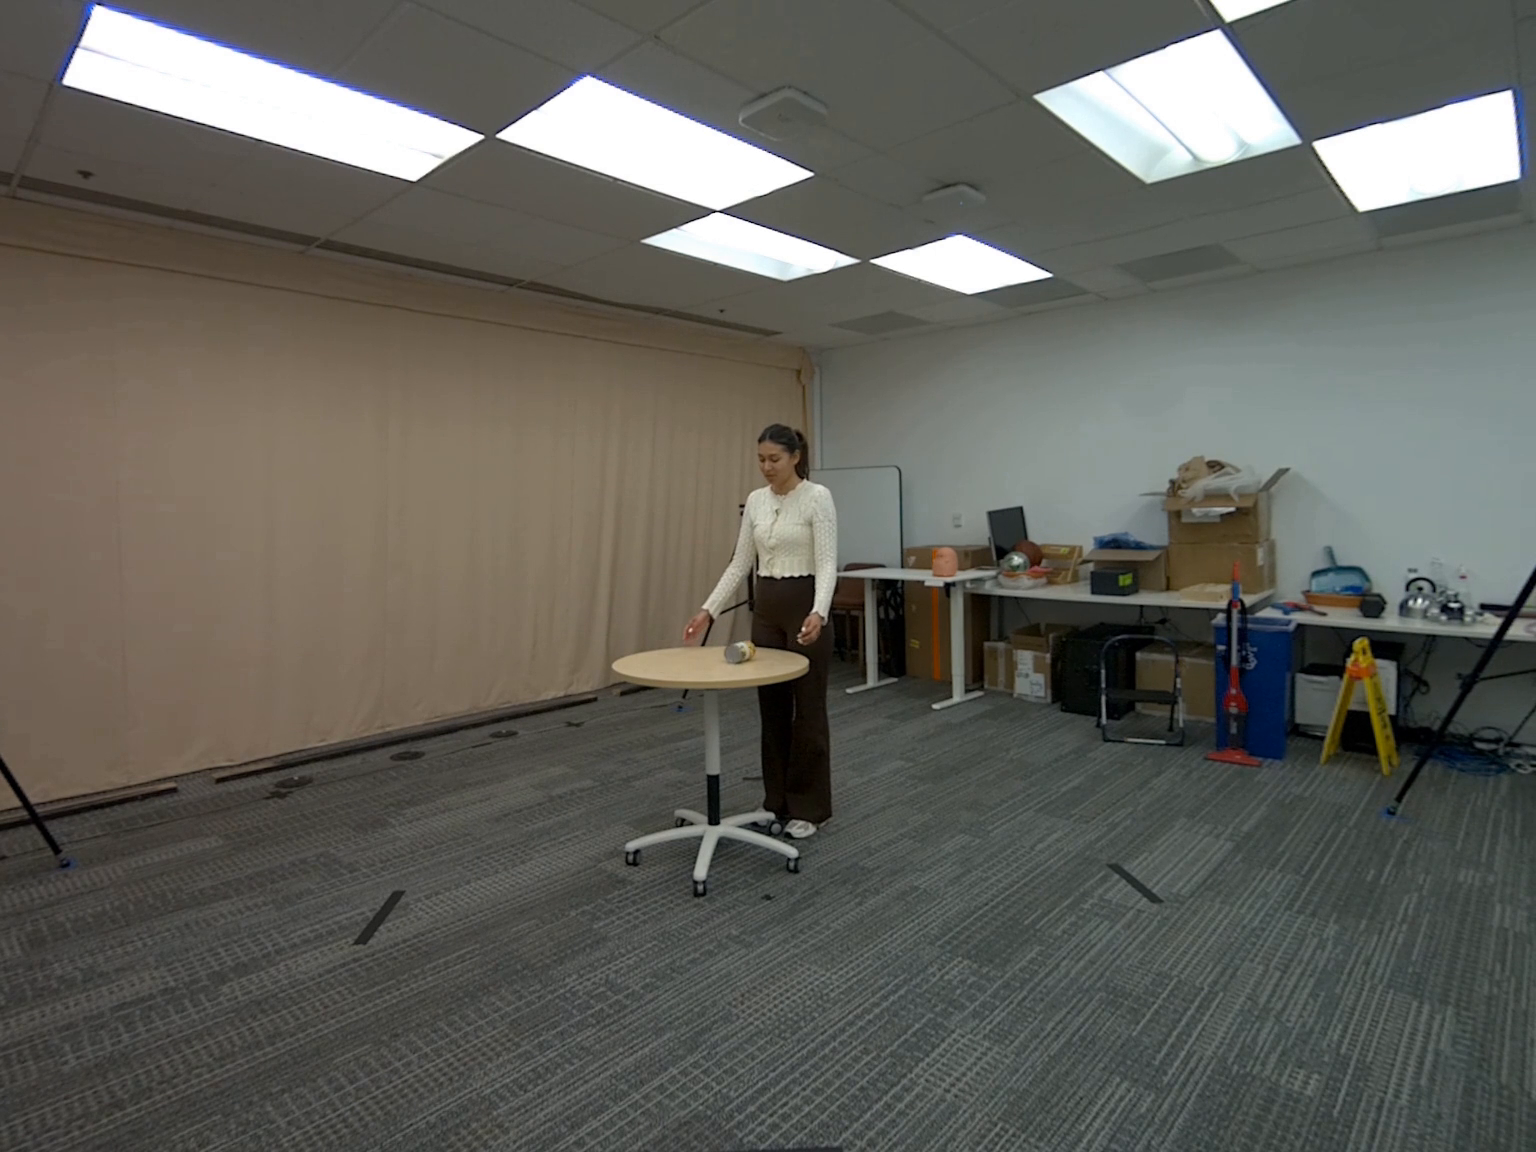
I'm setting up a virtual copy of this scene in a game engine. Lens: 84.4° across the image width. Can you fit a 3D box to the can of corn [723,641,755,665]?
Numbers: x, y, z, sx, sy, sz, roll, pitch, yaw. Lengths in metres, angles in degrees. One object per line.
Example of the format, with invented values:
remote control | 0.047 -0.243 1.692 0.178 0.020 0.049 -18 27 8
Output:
can of corn | -0.111 0.297 3.274 0.076 0.074 0.108 1 5 29
